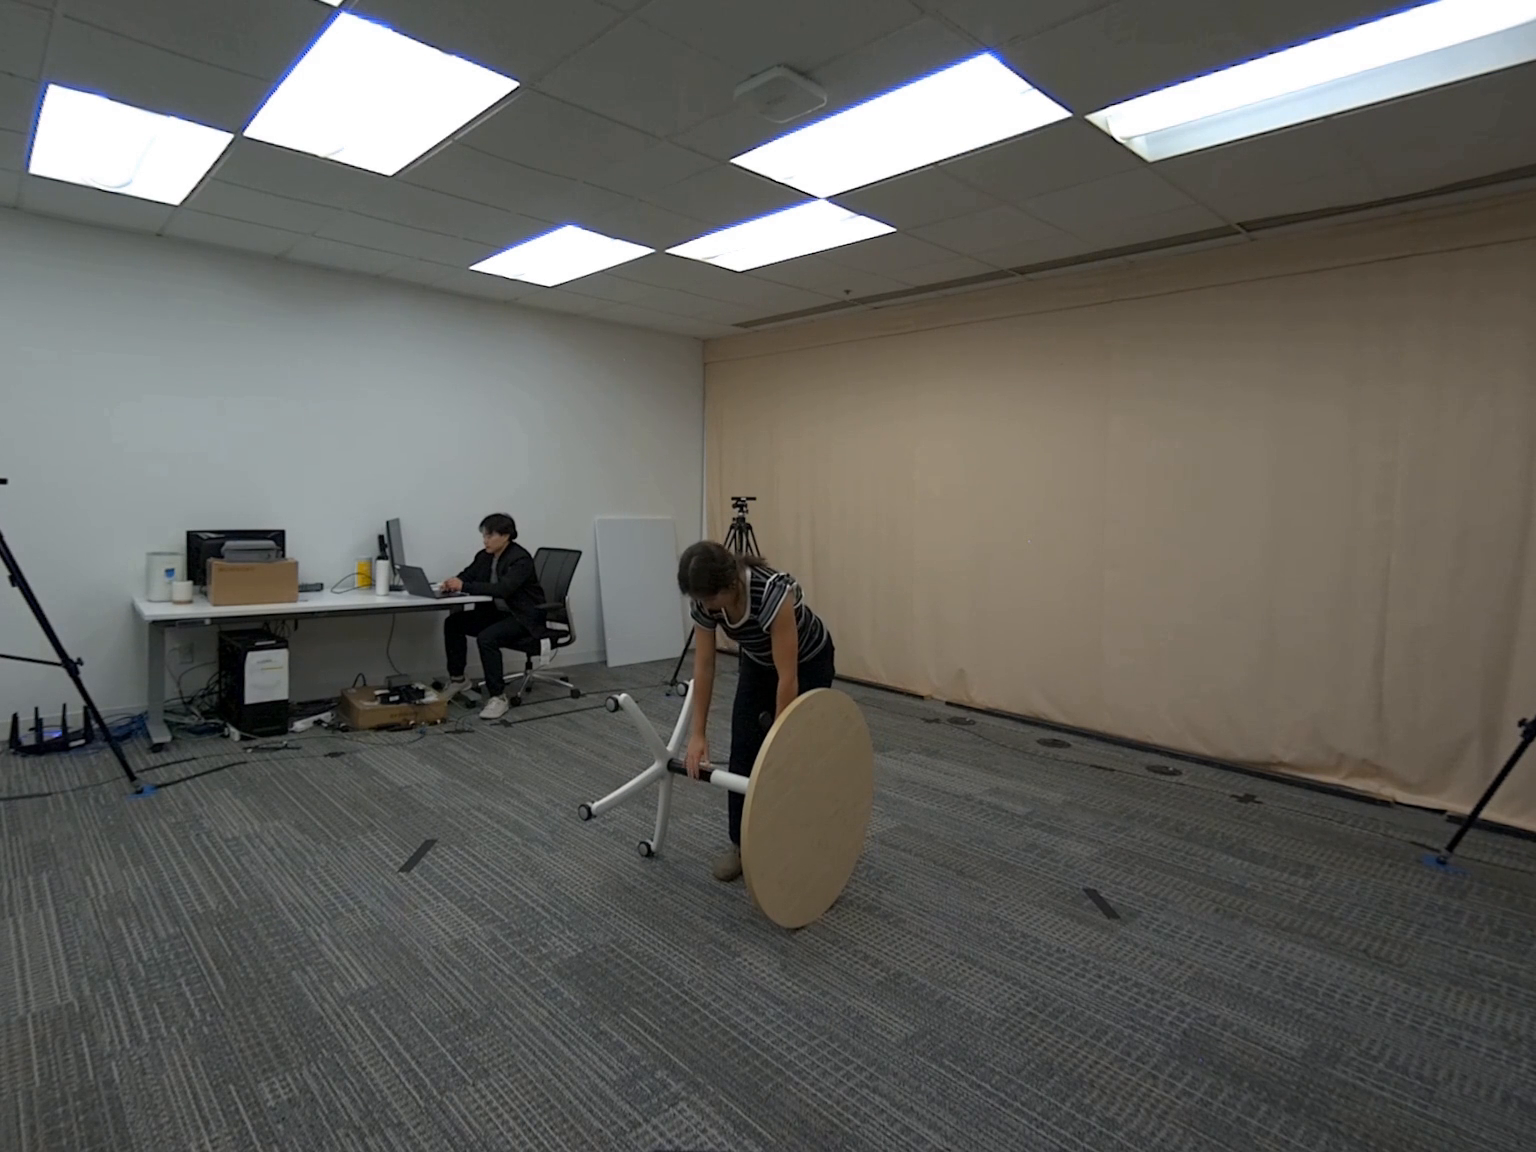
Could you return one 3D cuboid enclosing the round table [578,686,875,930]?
[{"bbox_3d":[-0.166,0.743,3.024,0.813,0.762,0.747,2,4,38],"label":"round table"}]
